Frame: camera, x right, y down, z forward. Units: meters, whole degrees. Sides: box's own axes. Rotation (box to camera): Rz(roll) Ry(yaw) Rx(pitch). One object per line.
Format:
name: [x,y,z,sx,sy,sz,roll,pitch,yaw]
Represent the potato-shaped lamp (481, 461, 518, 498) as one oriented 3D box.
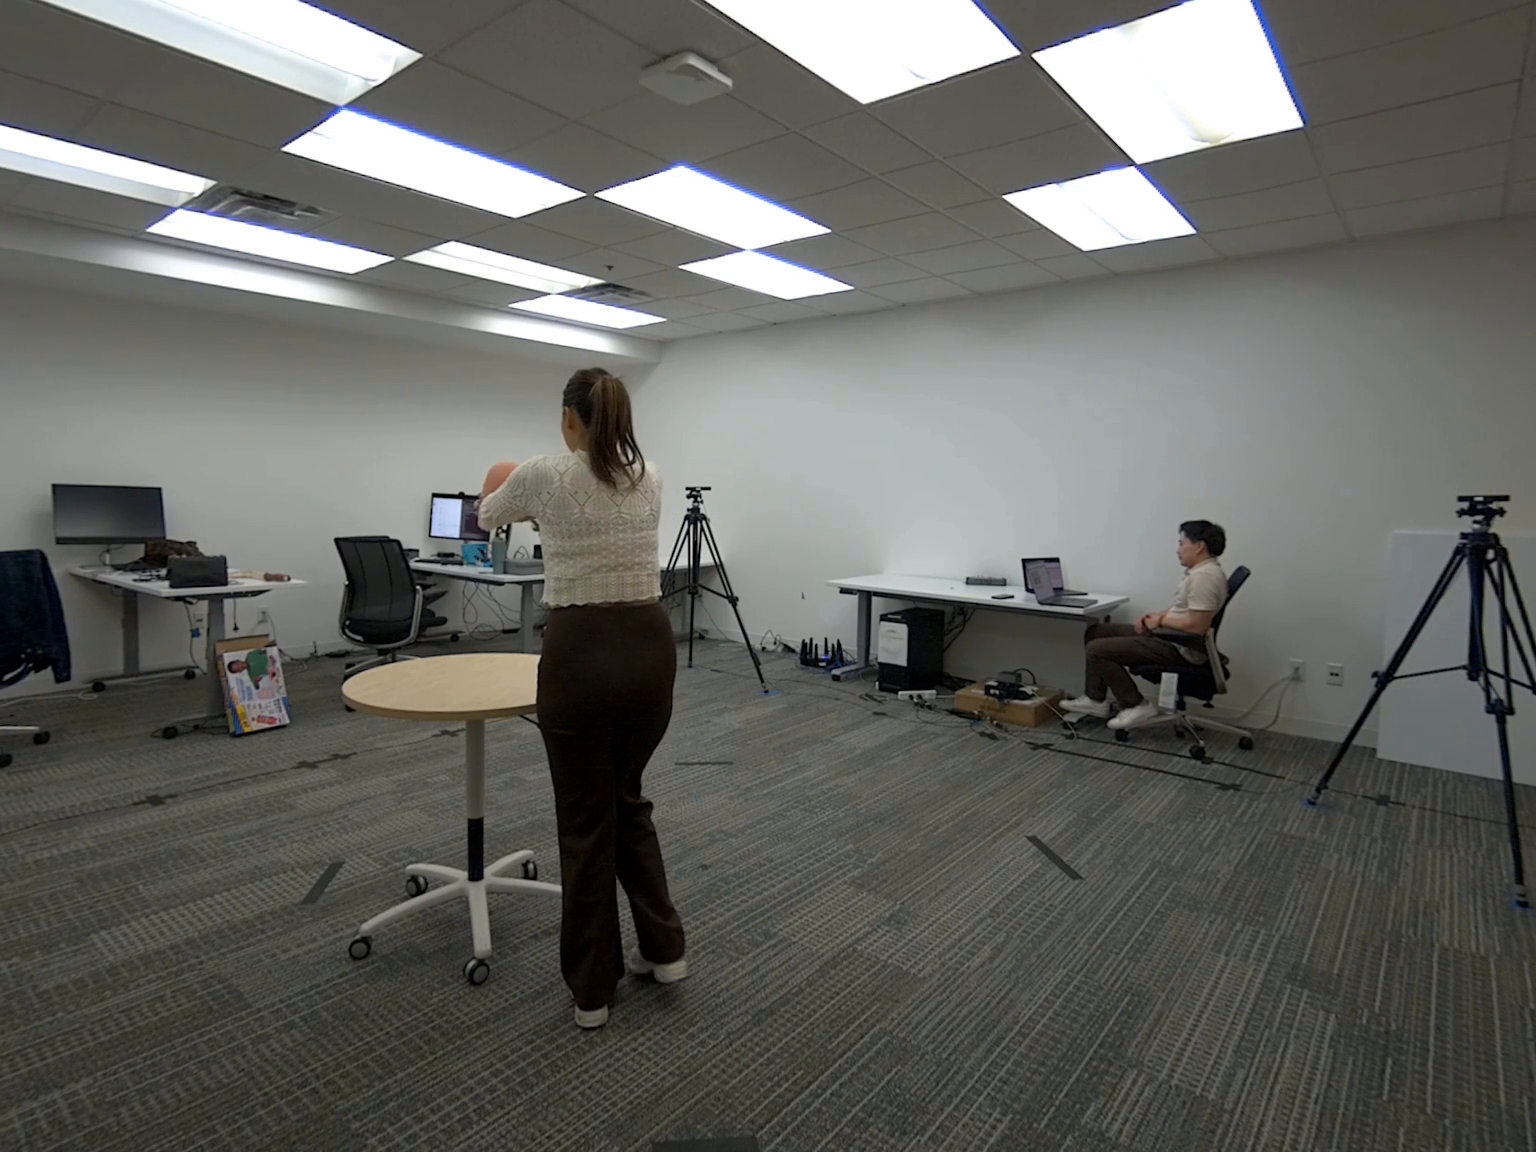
potato-shaped lamp: [-0.850,-0.273,2.758,0.160,0.196,0.177,0,15,-27]
